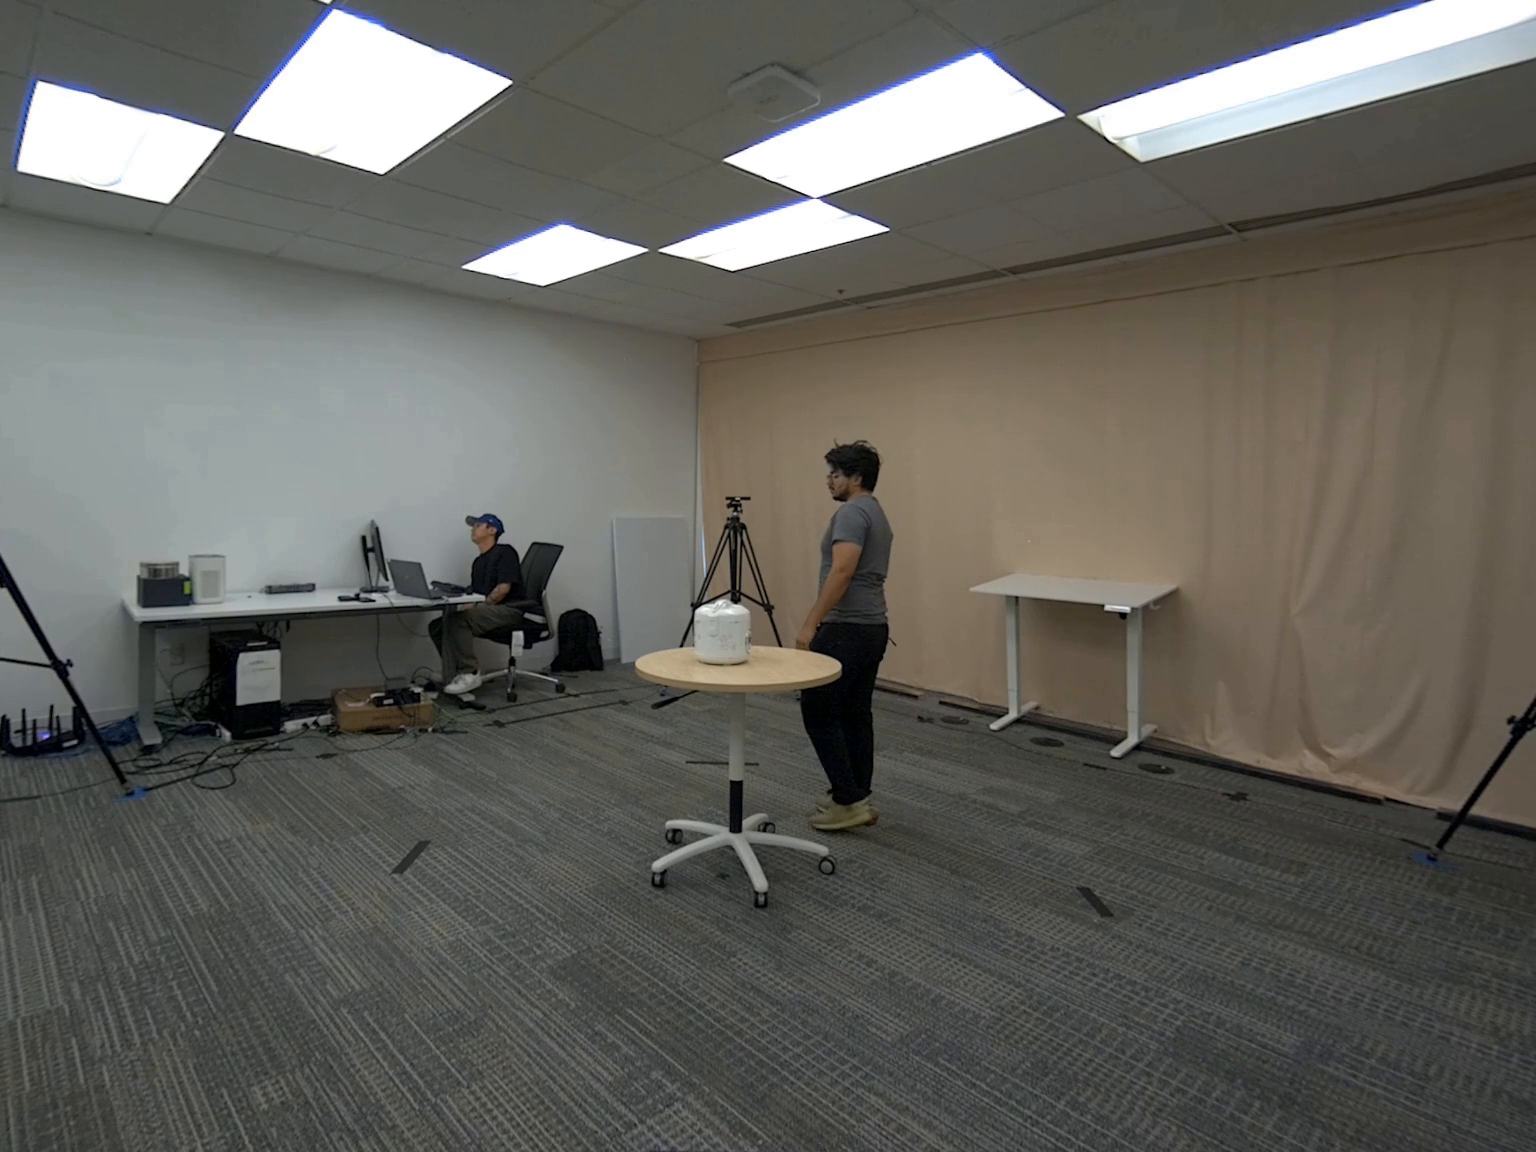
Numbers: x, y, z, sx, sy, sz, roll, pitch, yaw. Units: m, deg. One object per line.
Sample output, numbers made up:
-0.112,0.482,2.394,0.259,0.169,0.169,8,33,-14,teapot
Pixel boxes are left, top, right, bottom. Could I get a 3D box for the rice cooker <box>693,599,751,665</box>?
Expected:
-0.174,0.204,3.156,0.221,0.232,0.218,2,4,19,rice cooker
